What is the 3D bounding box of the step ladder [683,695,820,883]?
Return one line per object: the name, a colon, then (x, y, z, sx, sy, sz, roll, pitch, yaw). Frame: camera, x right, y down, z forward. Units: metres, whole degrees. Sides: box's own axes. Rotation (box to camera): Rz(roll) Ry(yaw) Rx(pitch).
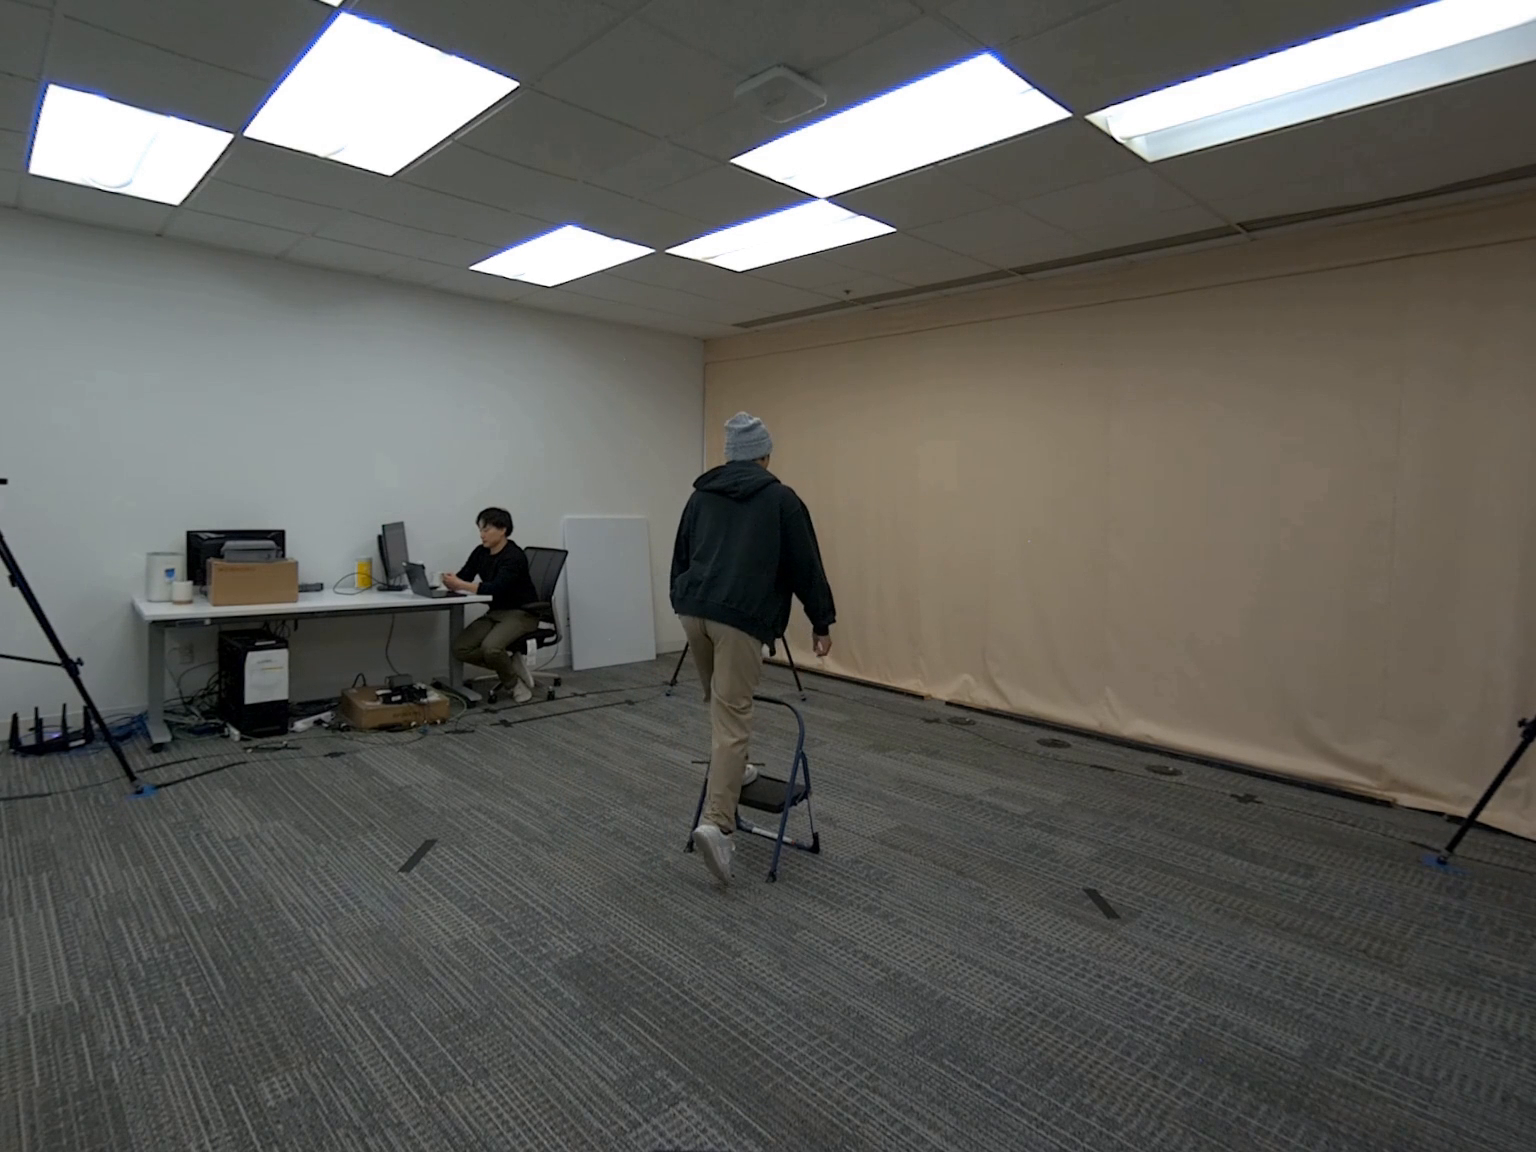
step ladder: (-0.054, 0.790, 3.307, 0.441, 0.605, 0.342, 4, 4, 36)
